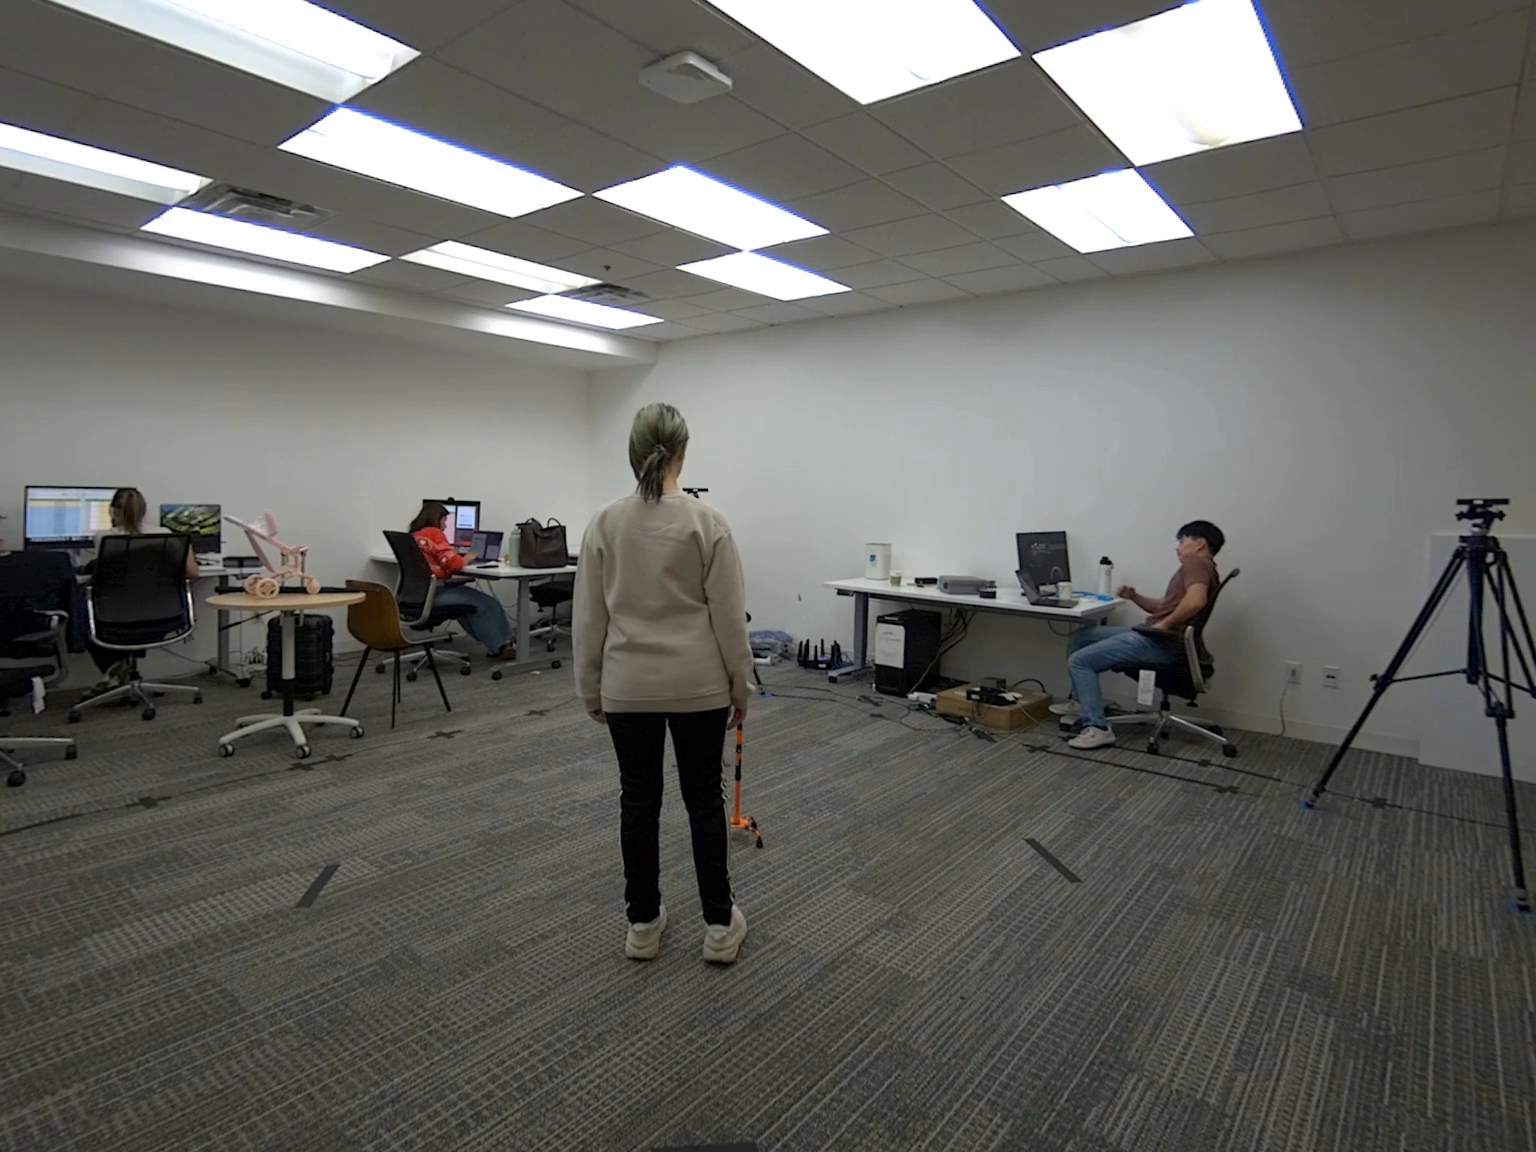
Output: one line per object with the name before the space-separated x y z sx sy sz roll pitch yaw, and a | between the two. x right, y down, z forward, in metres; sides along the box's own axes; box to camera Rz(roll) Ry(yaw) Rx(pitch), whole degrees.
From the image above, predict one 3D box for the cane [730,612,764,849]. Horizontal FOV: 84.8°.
cane | -0.107 0.593 3.384 0.150 0.906 0.208 1 2 -7
